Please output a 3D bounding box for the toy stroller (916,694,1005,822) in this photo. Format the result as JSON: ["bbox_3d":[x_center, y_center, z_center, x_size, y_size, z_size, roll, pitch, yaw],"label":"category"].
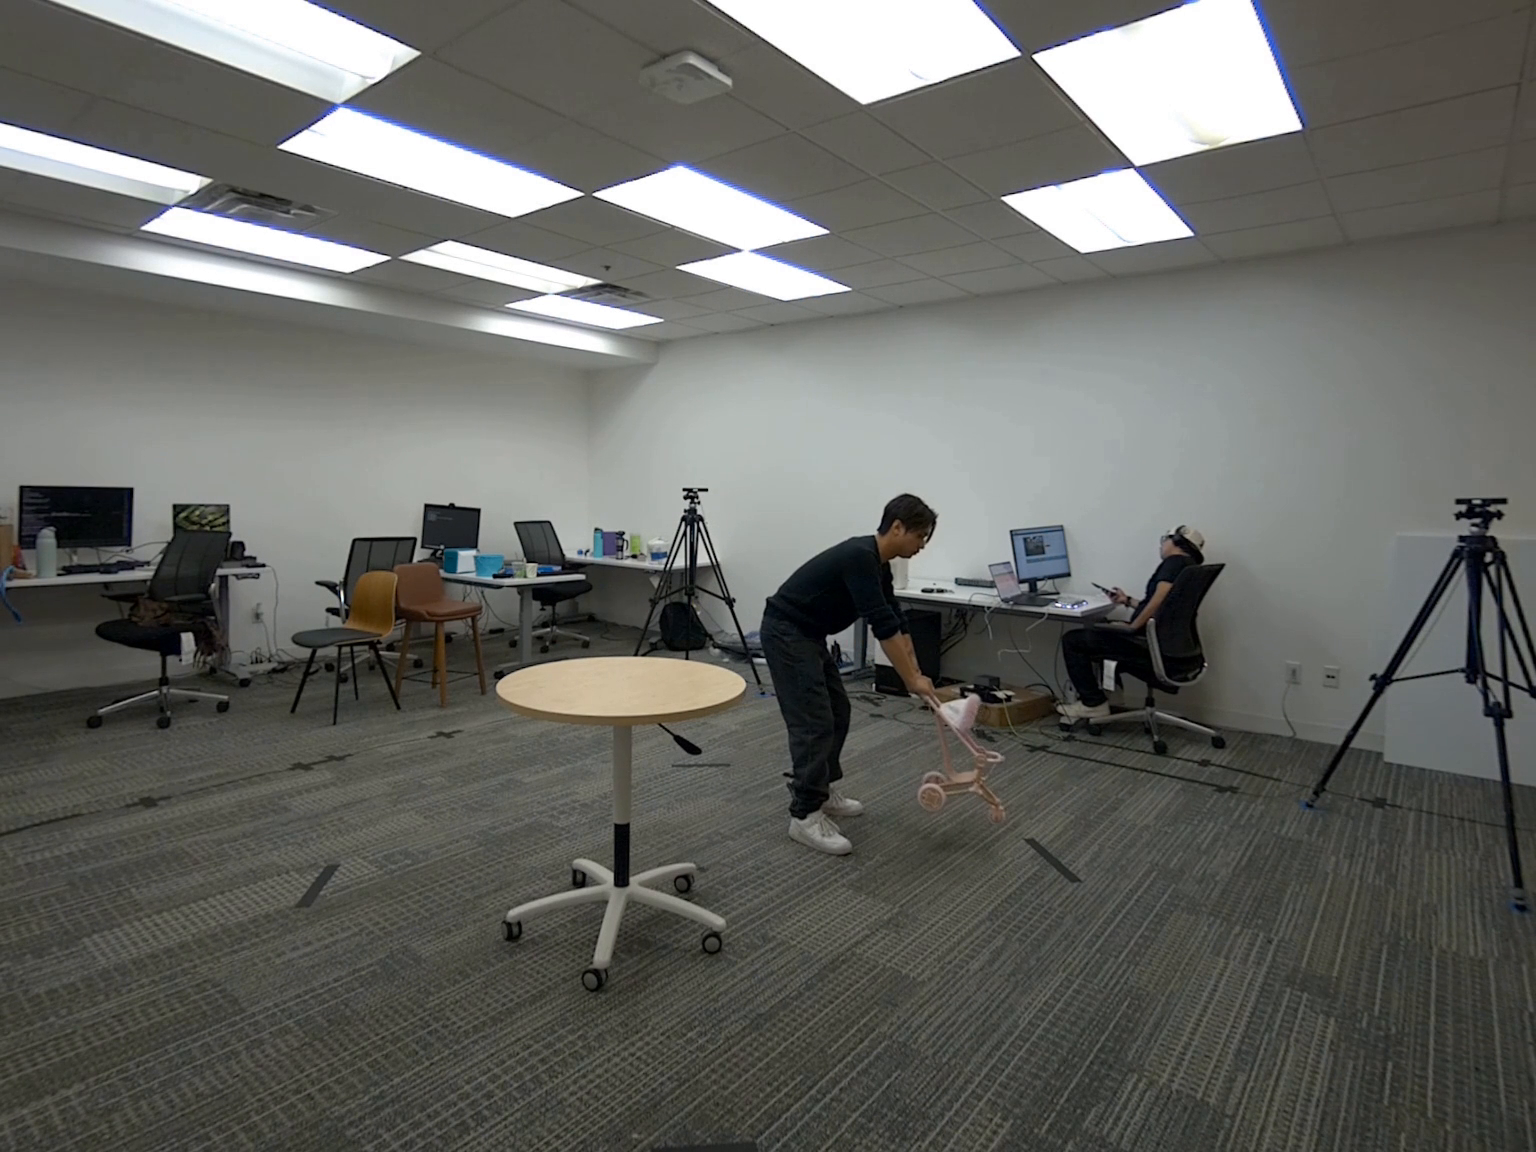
[{"bbox_3d":[0.760,0.702,3.382,0.349,0.537,0.274,-2,-5,21],"label":"toy stroller"}]
